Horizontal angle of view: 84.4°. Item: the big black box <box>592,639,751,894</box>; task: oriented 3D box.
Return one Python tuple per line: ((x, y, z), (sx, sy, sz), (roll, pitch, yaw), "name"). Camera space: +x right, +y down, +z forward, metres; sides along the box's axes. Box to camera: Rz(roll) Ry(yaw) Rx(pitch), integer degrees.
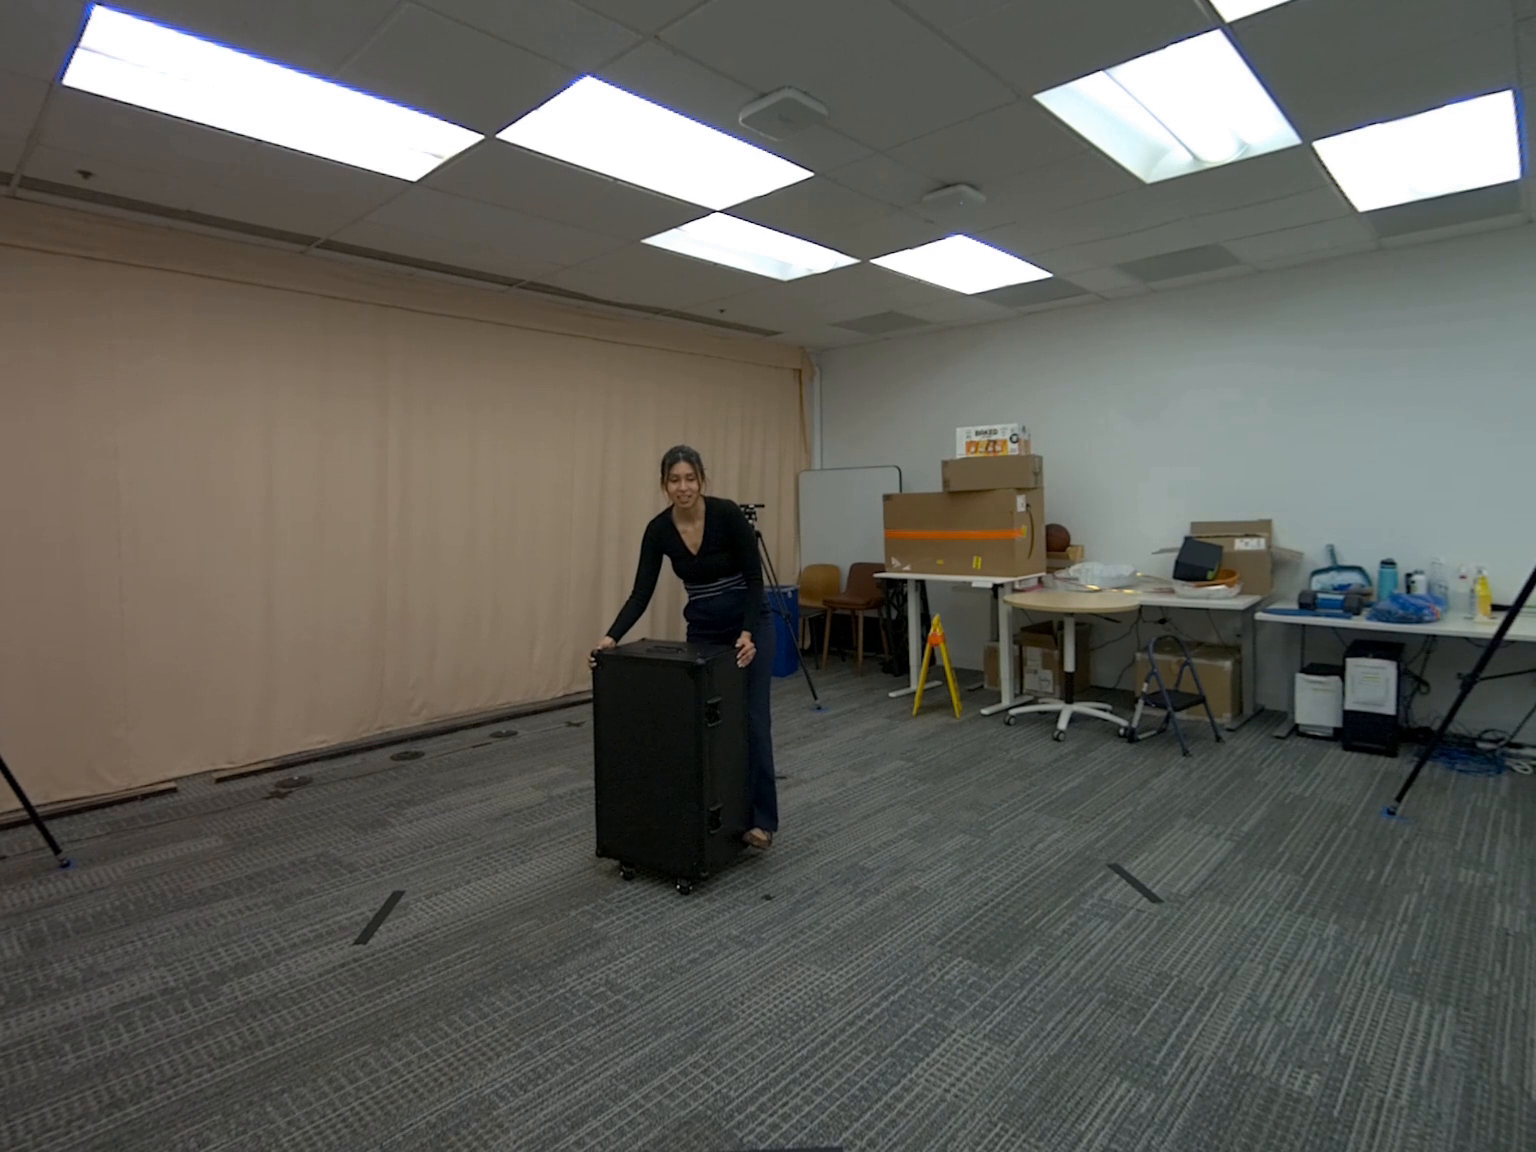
((-0.369, 0.701, 3.223), (0.536, 0.860, 0.386), (1, 2, 29), "big black box")
